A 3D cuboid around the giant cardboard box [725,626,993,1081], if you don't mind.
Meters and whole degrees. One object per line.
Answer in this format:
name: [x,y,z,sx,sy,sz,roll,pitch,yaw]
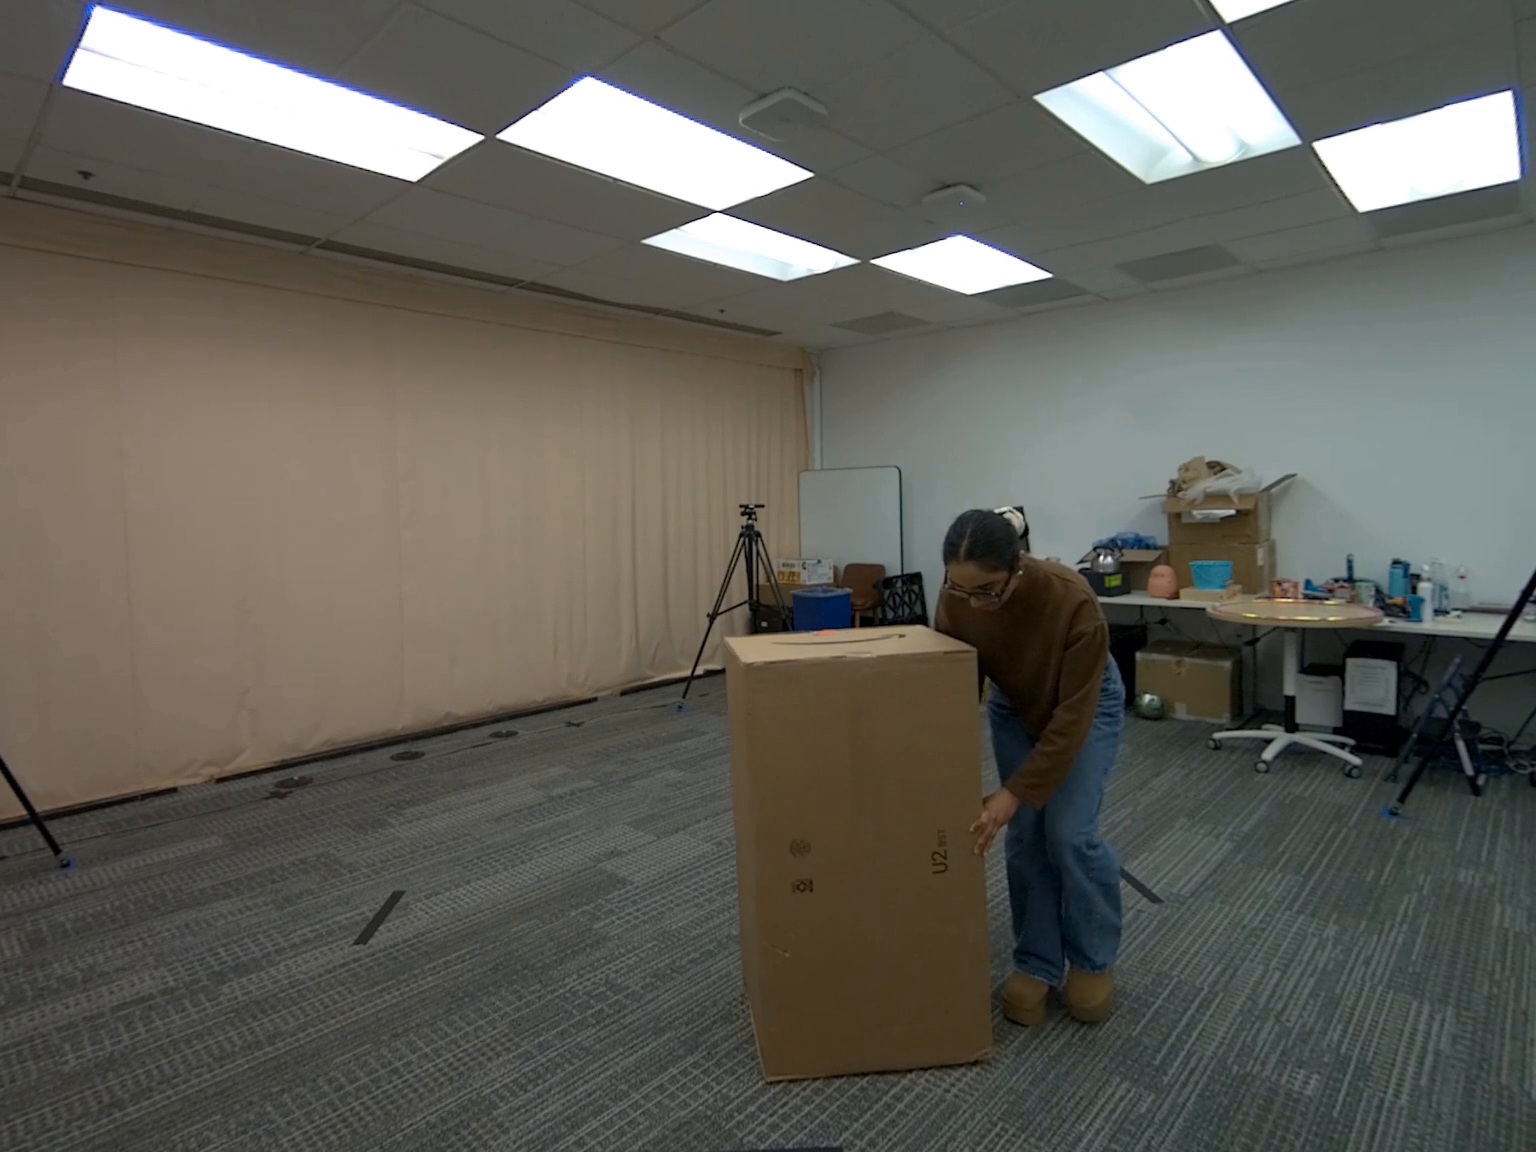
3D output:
giant cardboard box: [0.222,0.691,2.238,0.574,1.023,0.430,-4,4,-7]
